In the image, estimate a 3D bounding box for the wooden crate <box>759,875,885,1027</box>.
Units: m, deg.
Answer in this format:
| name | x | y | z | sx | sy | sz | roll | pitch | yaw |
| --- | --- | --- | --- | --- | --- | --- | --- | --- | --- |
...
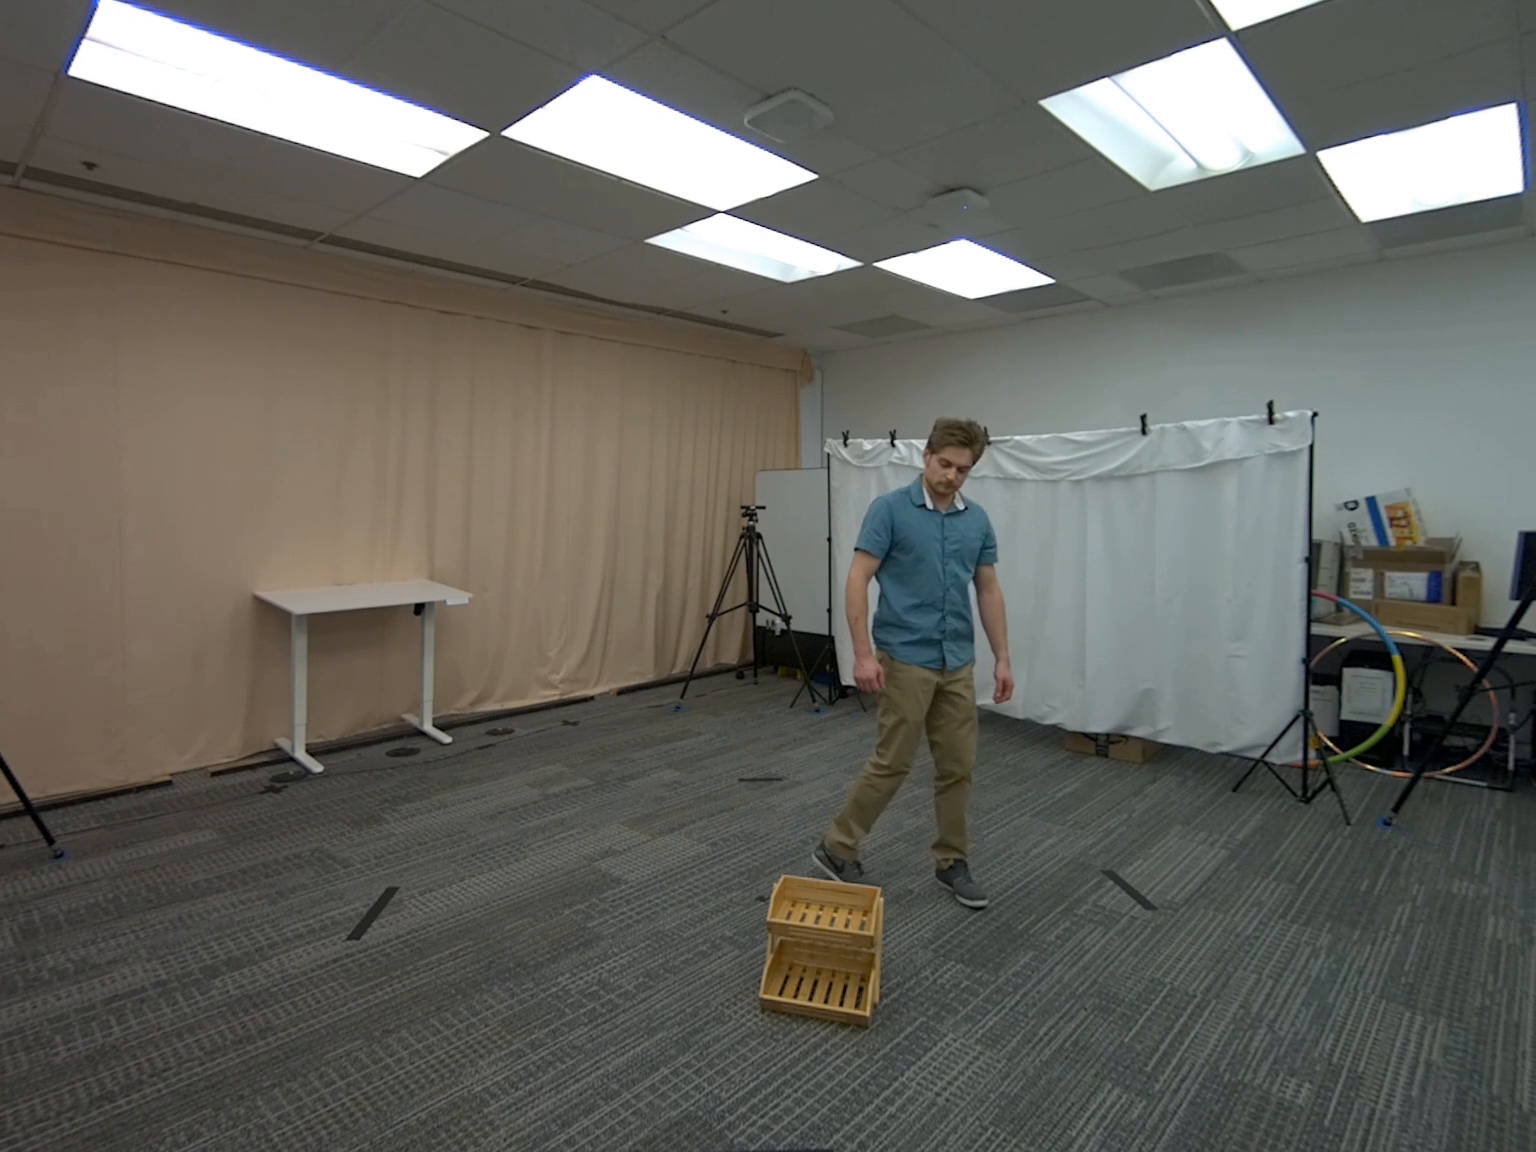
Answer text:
| name | x | y | z | sx | sy | sz | roll | pitch | yaw |
| --- | --- | --- | --- | --- | --- | --- | --- | --- | --- |
| wooden crate | 0.165 | 1.062 | 2.393 | 0.330 | 0.273 | 0.297 | 1 | 3 | 15 |
